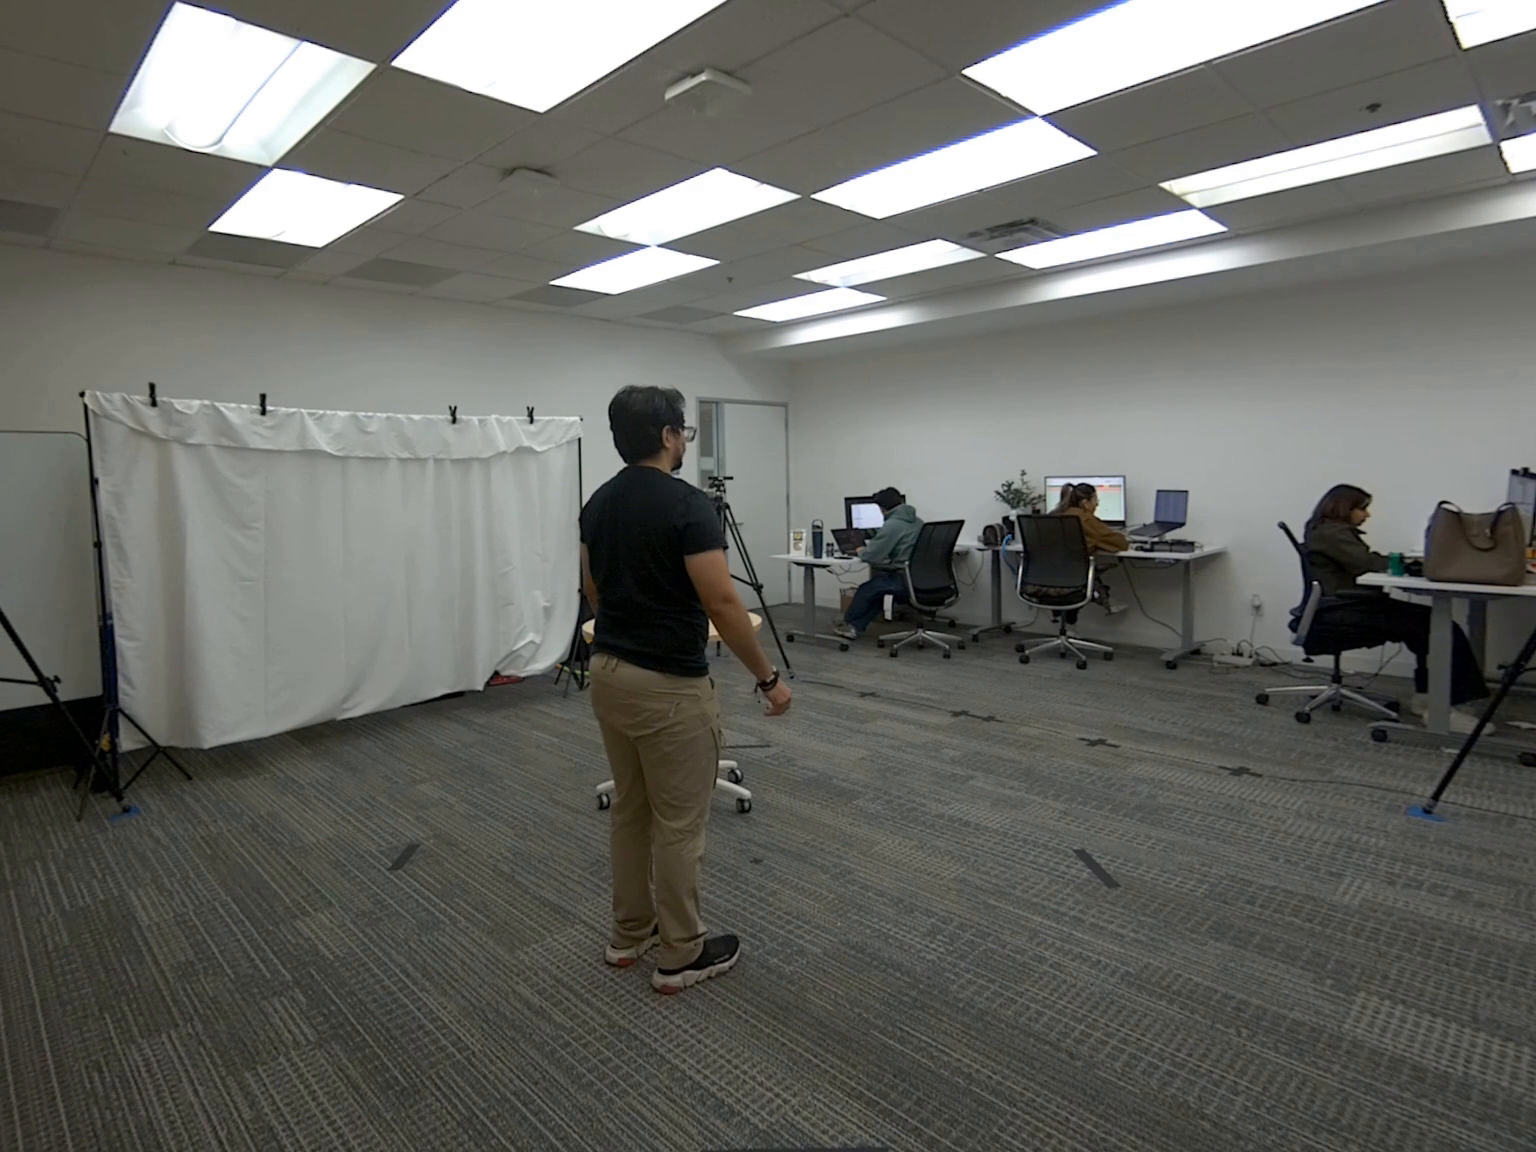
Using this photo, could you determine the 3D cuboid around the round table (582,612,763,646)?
[{"bbox_3d":[-0.378,0.586,3.691,0.785,0.783,0.789,-2,5,-1],"label":"round table"}]
